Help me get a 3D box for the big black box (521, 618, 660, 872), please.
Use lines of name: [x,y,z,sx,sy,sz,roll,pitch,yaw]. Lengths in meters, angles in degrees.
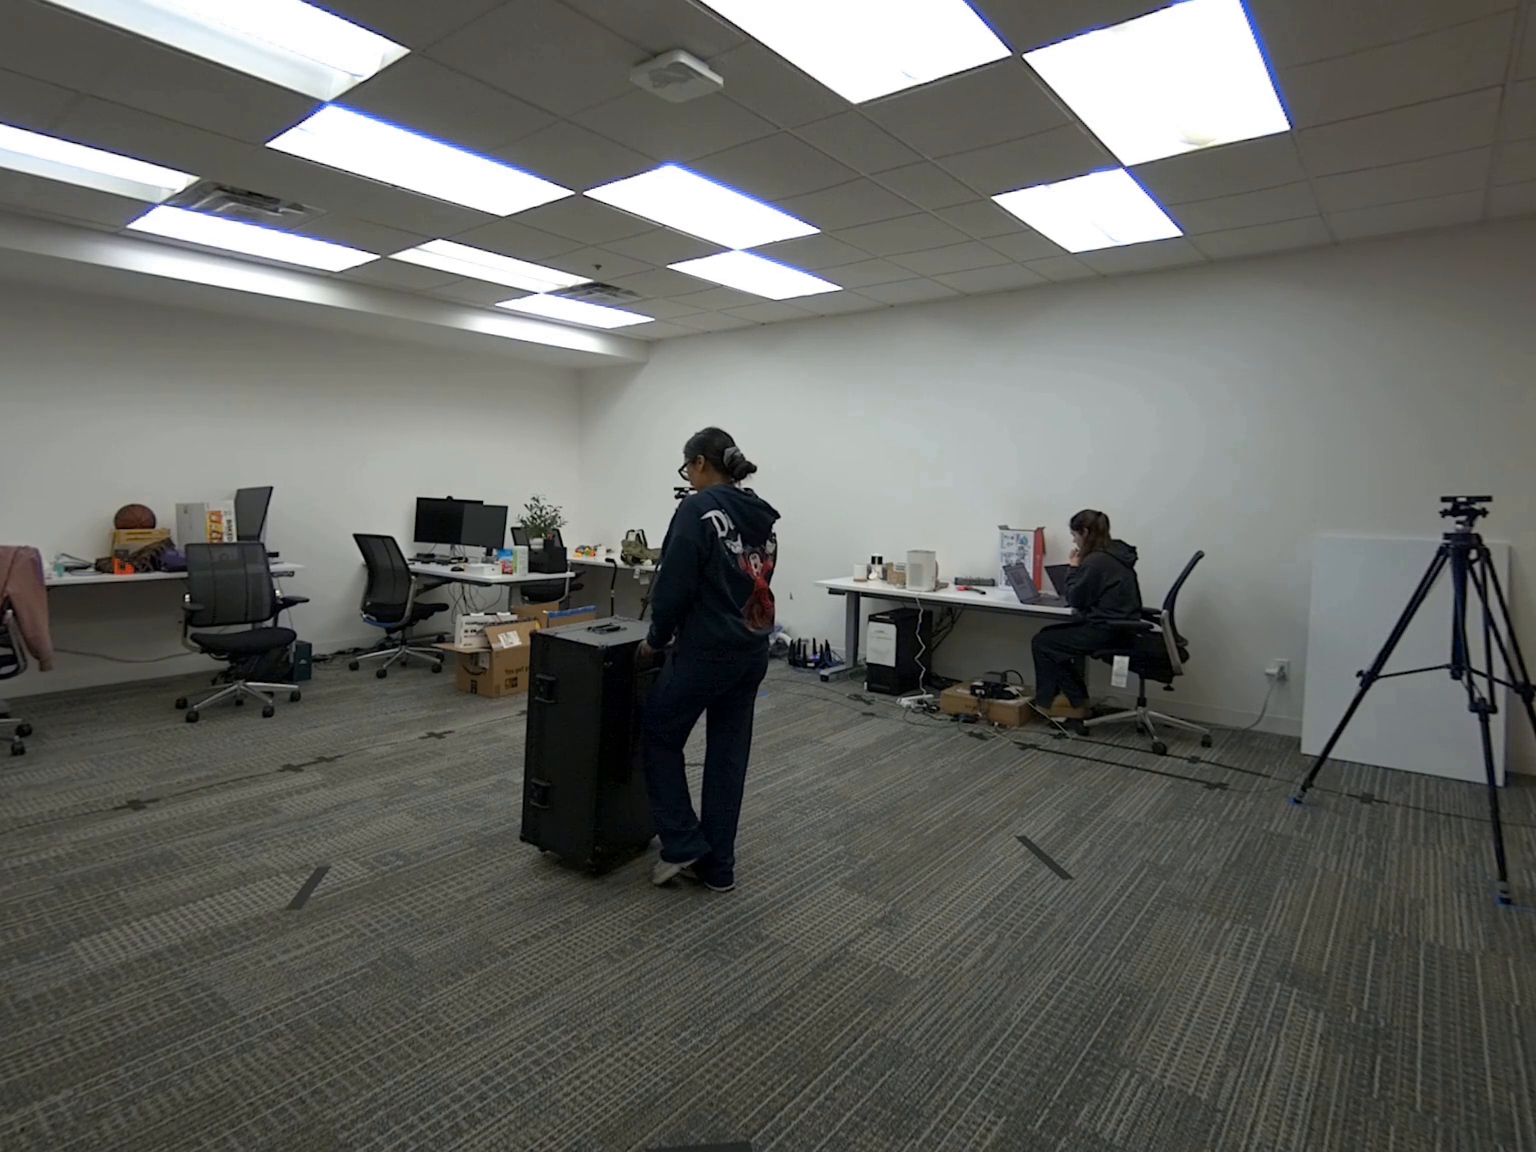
big black box: [-0.618,0.622,3.200,0.409,0.857,0.507,8,6,31]
